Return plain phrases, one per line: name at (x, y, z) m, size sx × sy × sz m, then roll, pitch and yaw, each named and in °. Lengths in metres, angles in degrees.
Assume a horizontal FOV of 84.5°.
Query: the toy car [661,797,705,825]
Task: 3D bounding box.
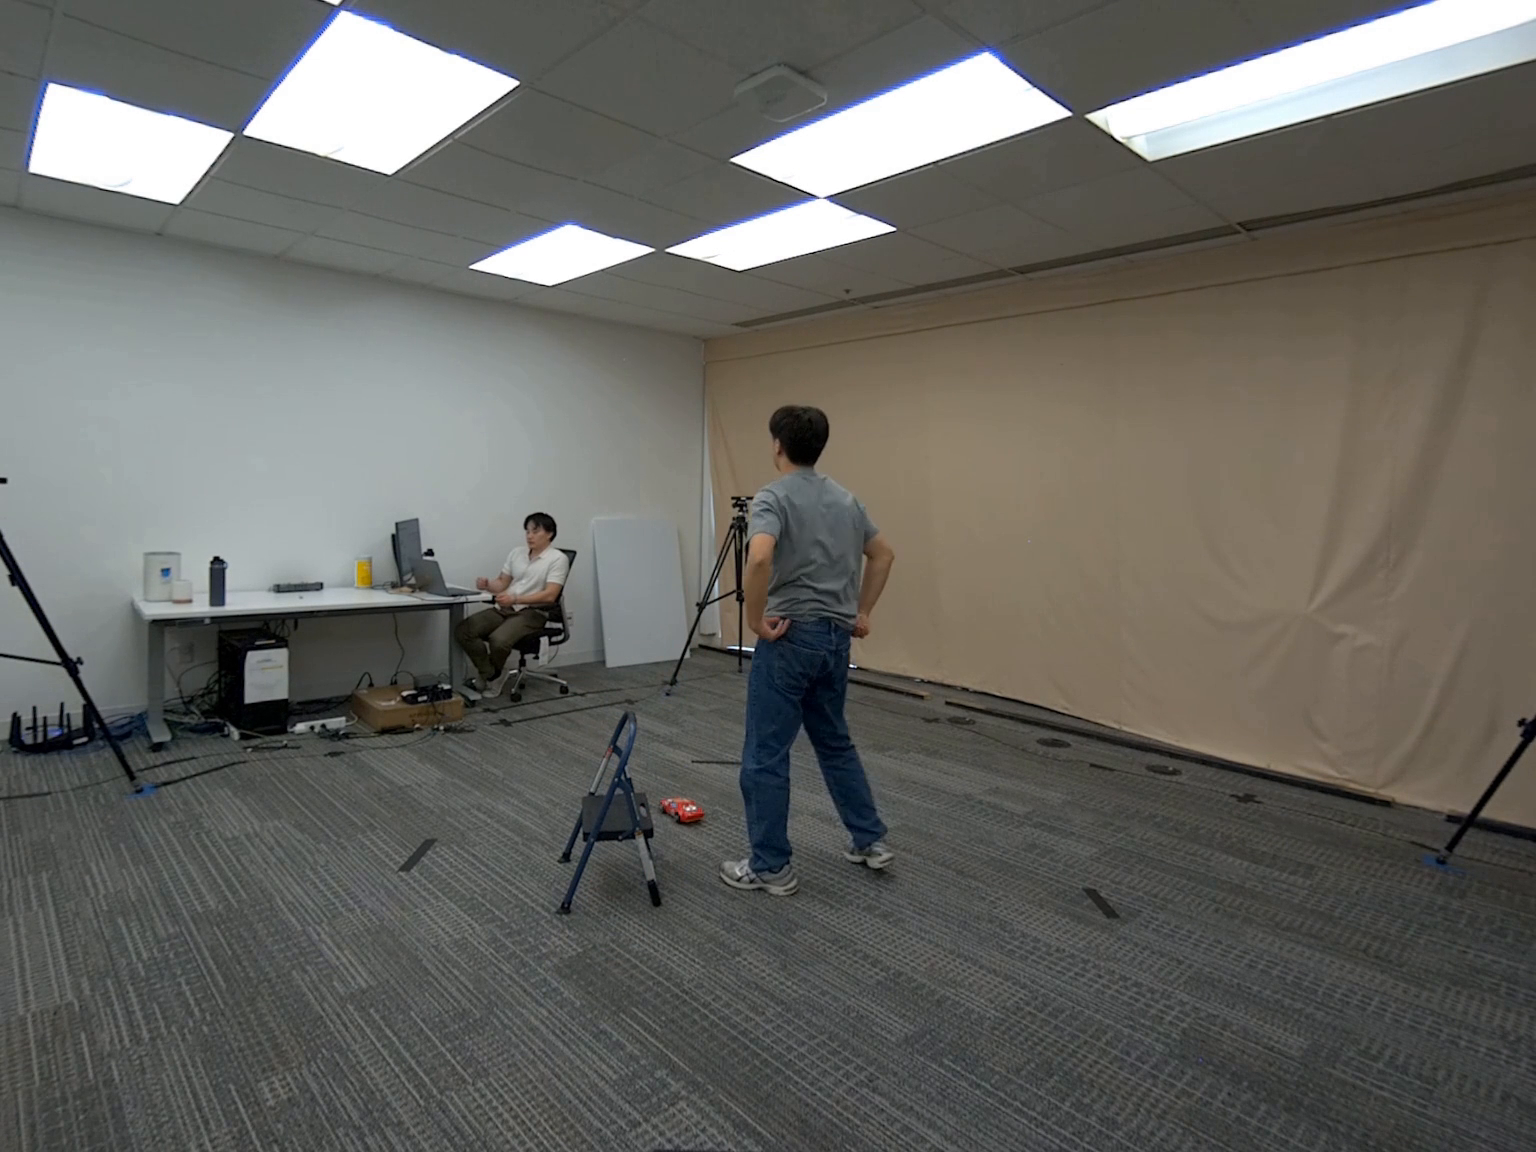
toy car at (-0.382, 1.020, 3.663) m, size 0.127 × 0.083 × 0.259 m, roll 0°, pitch -6°, yaw -34°
